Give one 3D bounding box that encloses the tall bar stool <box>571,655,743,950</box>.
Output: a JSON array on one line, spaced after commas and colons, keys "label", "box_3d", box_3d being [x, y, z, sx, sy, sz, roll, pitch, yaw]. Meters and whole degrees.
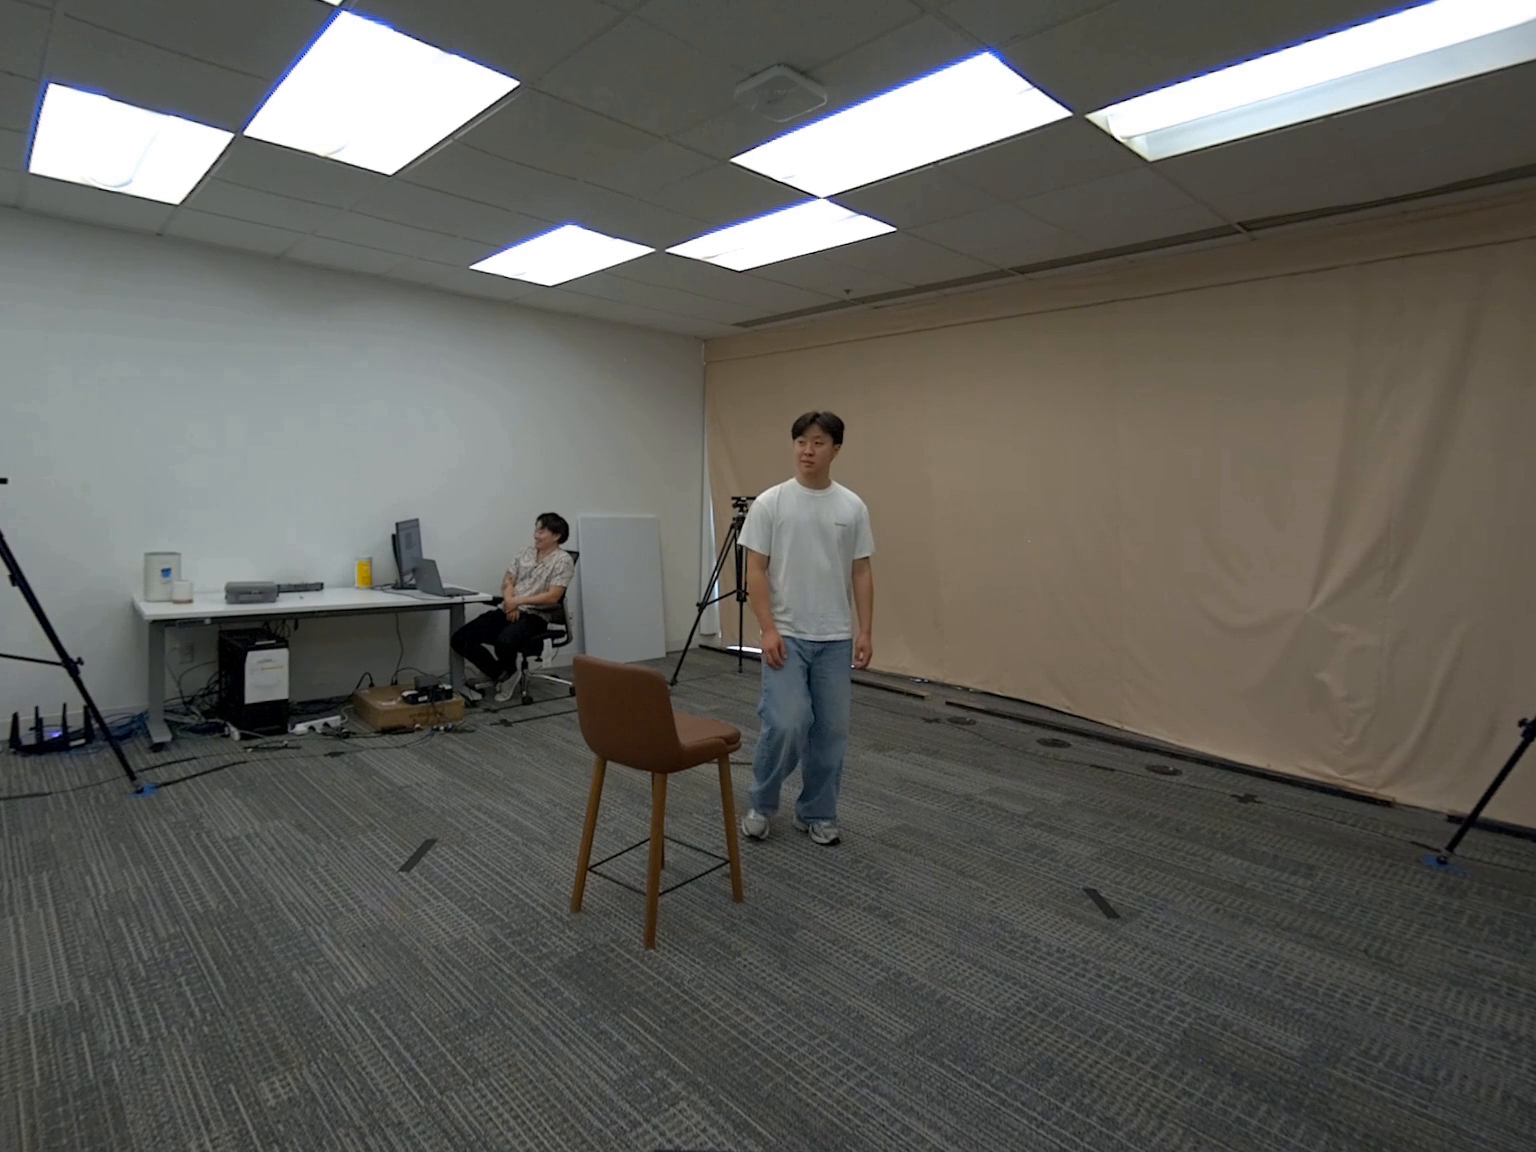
[{"label": "tall bar stool", "box_3d": [-0.383, 0.688, 2.844, 0.468, 0.886, 0.458, 4, 6, 39]}]
